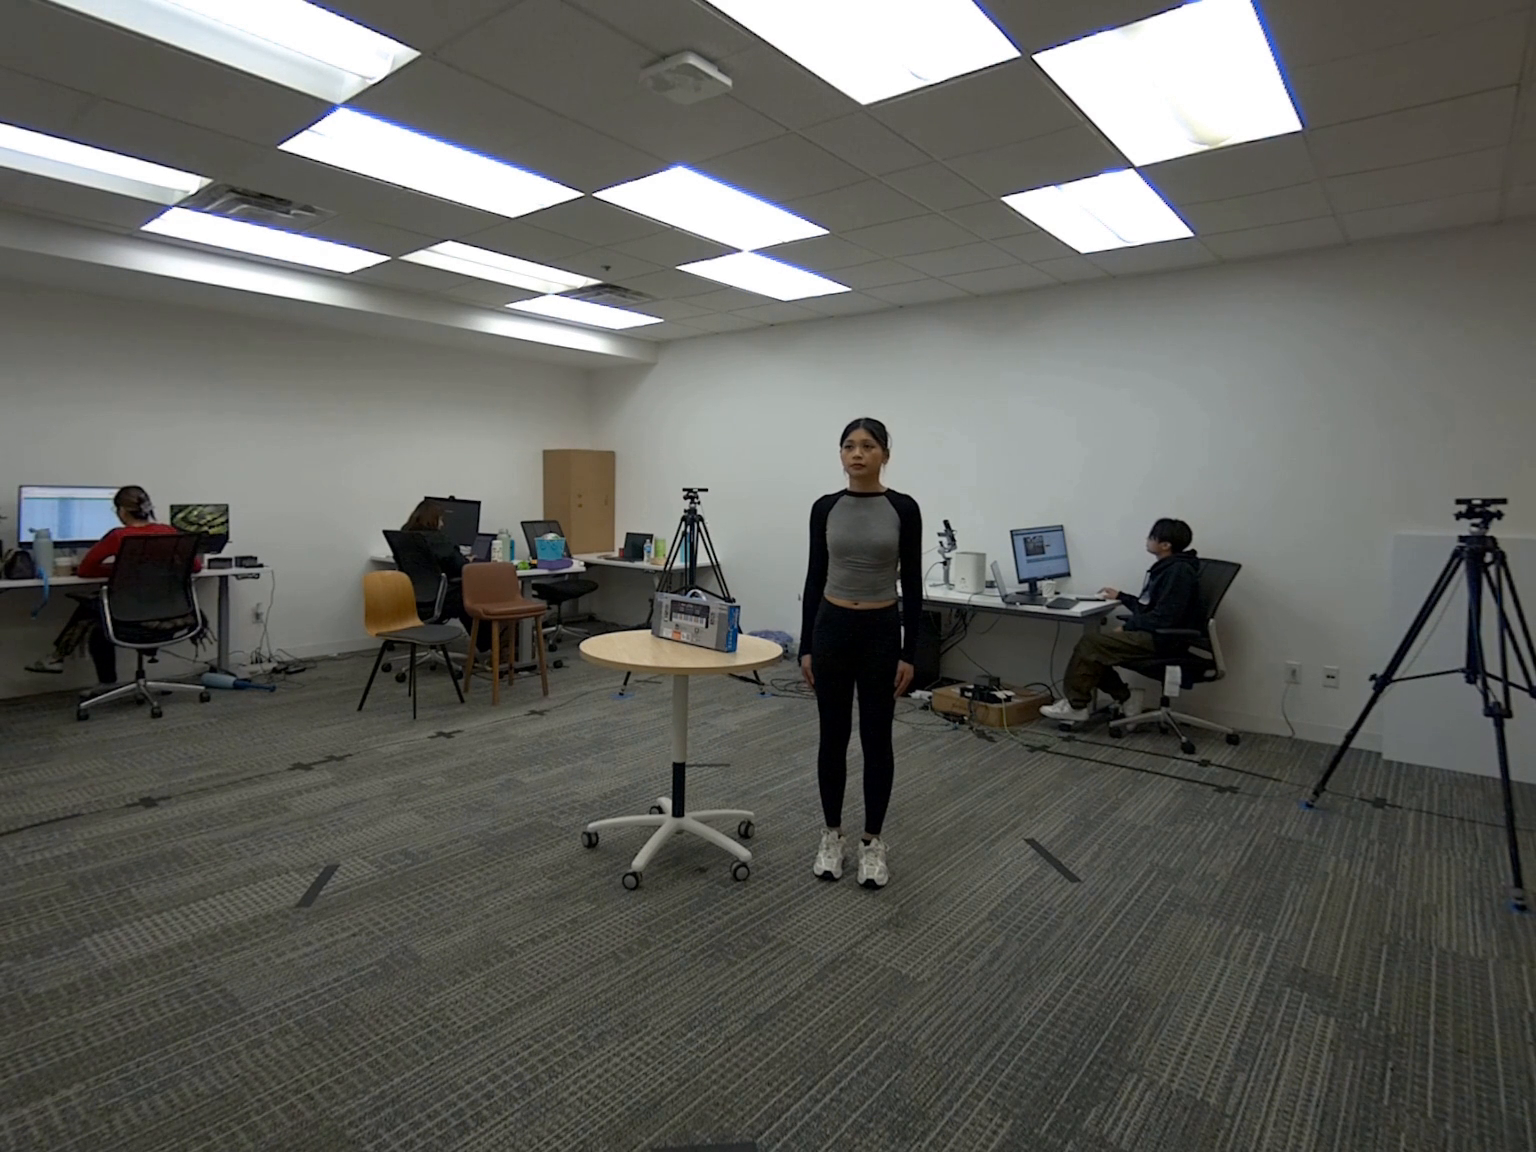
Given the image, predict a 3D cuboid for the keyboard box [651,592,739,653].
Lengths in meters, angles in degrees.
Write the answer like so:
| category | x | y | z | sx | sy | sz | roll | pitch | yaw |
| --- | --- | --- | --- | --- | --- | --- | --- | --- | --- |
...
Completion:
| category | x | y | z | sx | sy | sz | roll | pitch | yaw |
| --- | --- | --- | --- | --- | --- | --- | --- | --- | --- |
| keyboard box | -0.299 | 0.172 | 3.280 | 0.452 | 0.176 | 0.057 | 7 | 2 | 45 |
